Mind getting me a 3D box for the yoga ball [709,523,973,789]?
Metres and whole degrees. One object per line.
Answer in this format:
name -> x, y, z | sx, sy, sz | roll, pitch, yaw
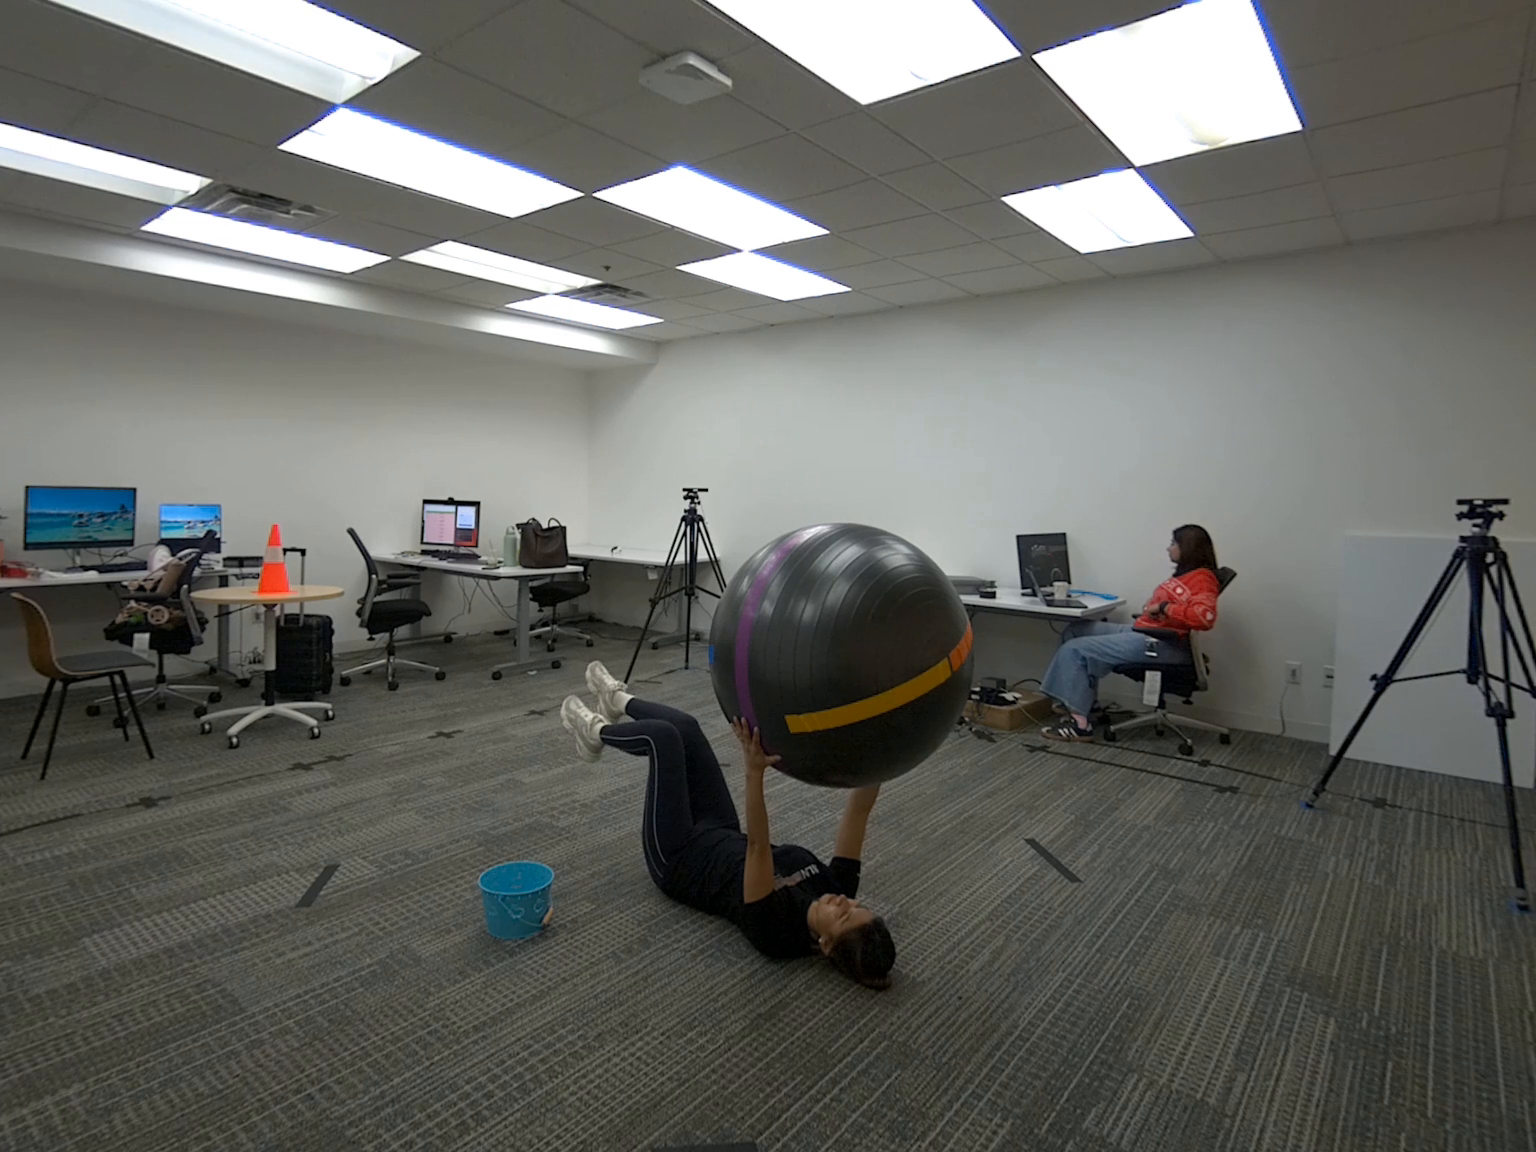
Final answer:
yoga ball -> 0.200, 0.225, 2.470 | 0.757, 0.756, 0.761 | -3, 3, -2
